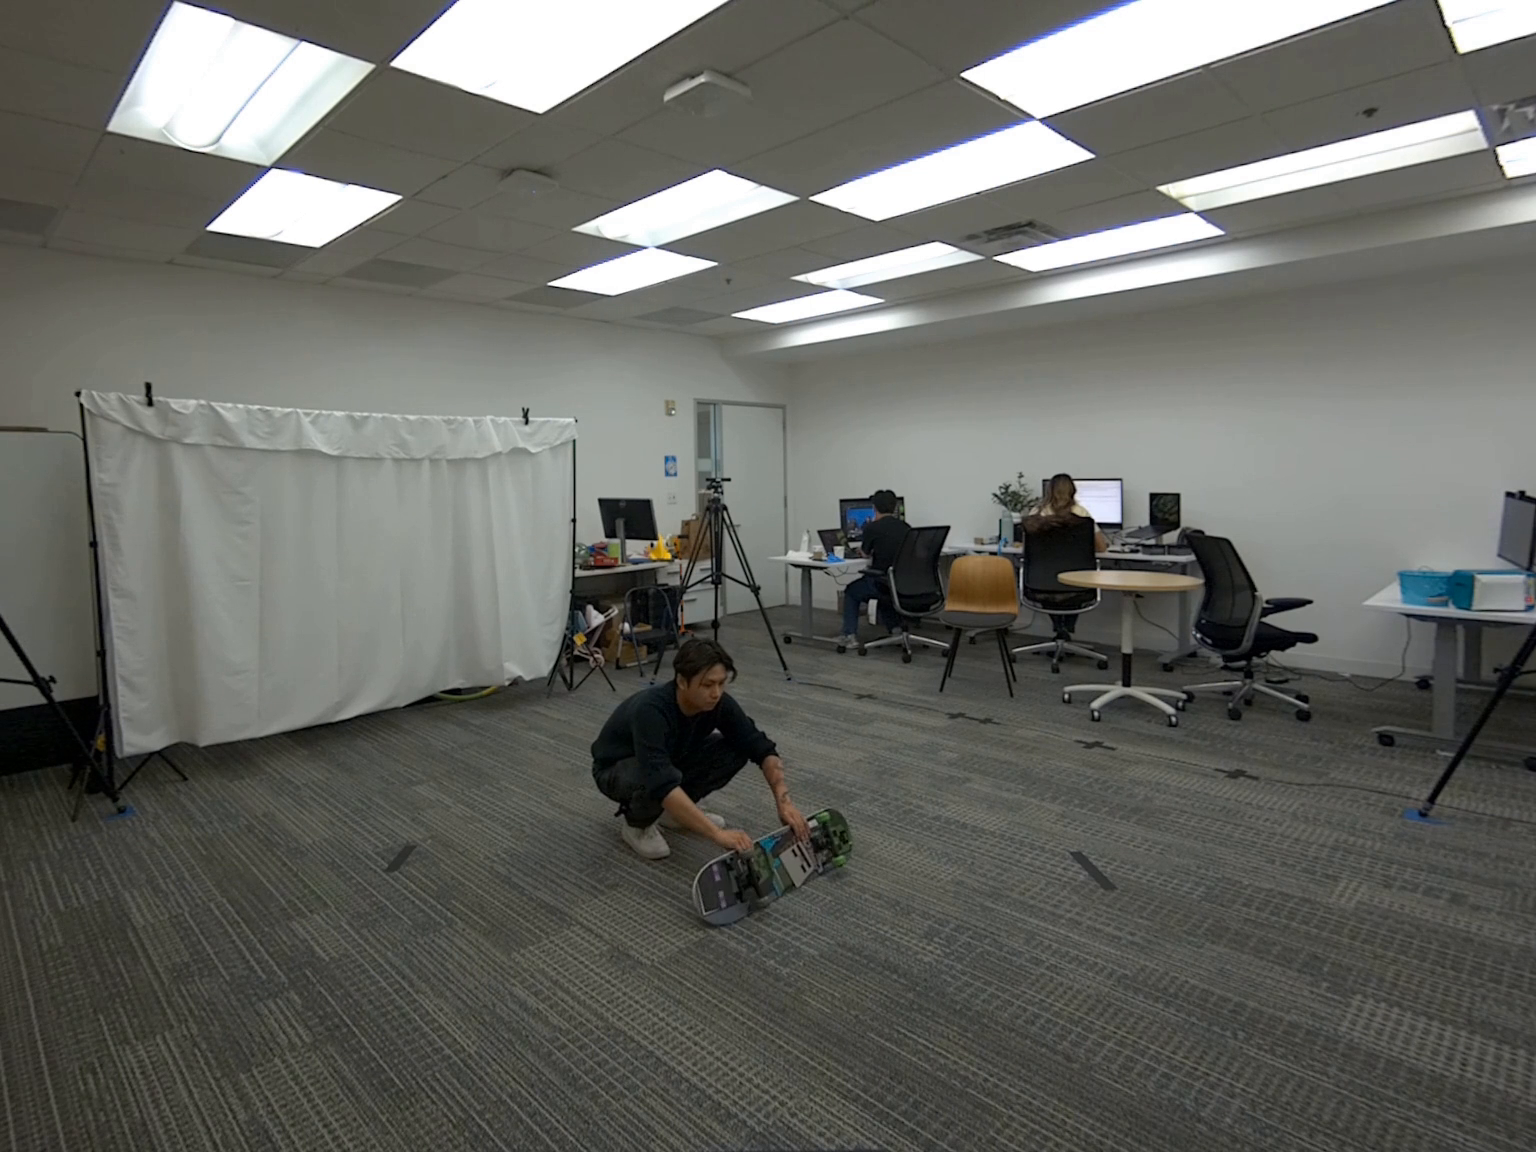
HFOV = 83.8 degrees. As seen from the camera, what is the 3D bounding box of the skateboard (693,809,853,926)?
[{"bbox_3d":[0.058,0.955,2.910,0.765,0.197,0.111,-8,-19,-46],"label":"skateboard"}]
